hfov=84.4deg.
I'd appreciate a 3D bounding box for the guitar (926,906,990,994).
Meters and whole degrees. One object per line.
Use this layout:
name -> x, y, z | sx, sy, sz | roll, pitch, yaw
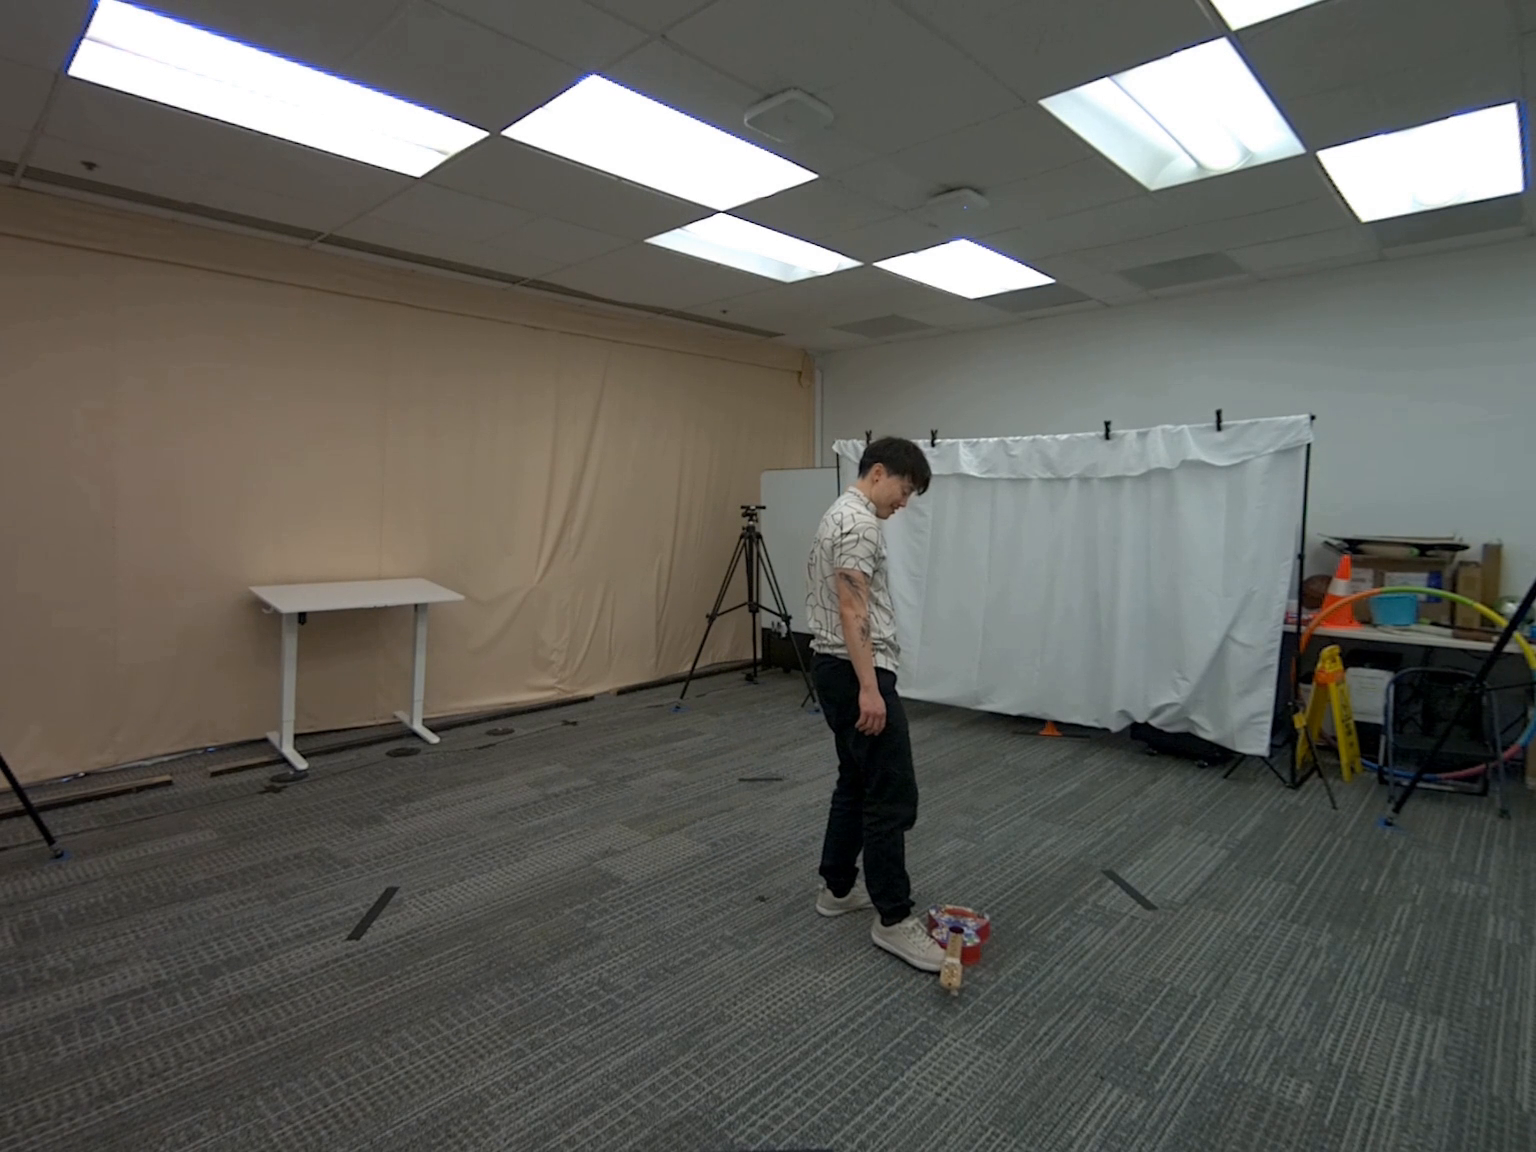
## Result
guitar -> 0.550, 1.140, 2.580 | 0.198, 0.070, 0.486 | 3, 5, 25
